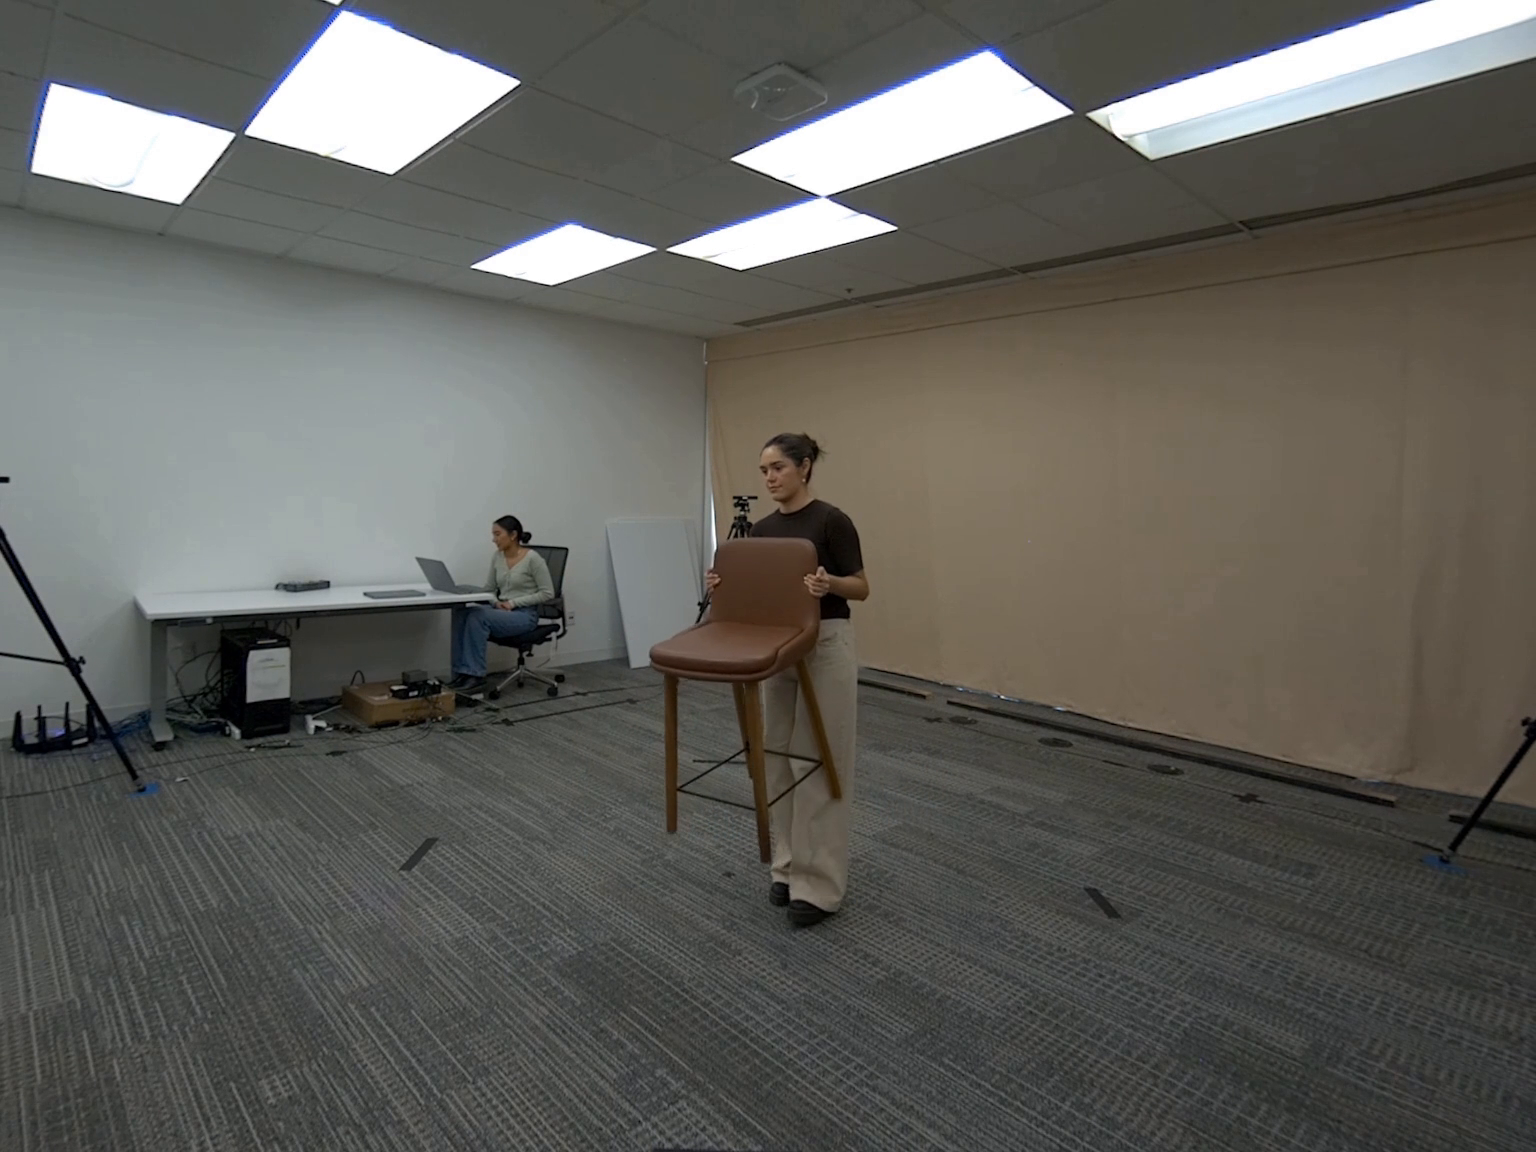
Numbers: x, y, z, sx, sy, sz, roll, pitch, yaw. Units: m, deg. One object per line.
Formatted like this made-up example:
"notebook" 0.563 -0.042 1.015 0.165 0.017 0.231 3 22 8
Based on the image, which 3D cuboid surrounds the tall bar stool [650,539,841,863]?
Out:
"tall bar stool" -0.084 0.362 2.666 0.467 0.883 0.460 1 11 38
